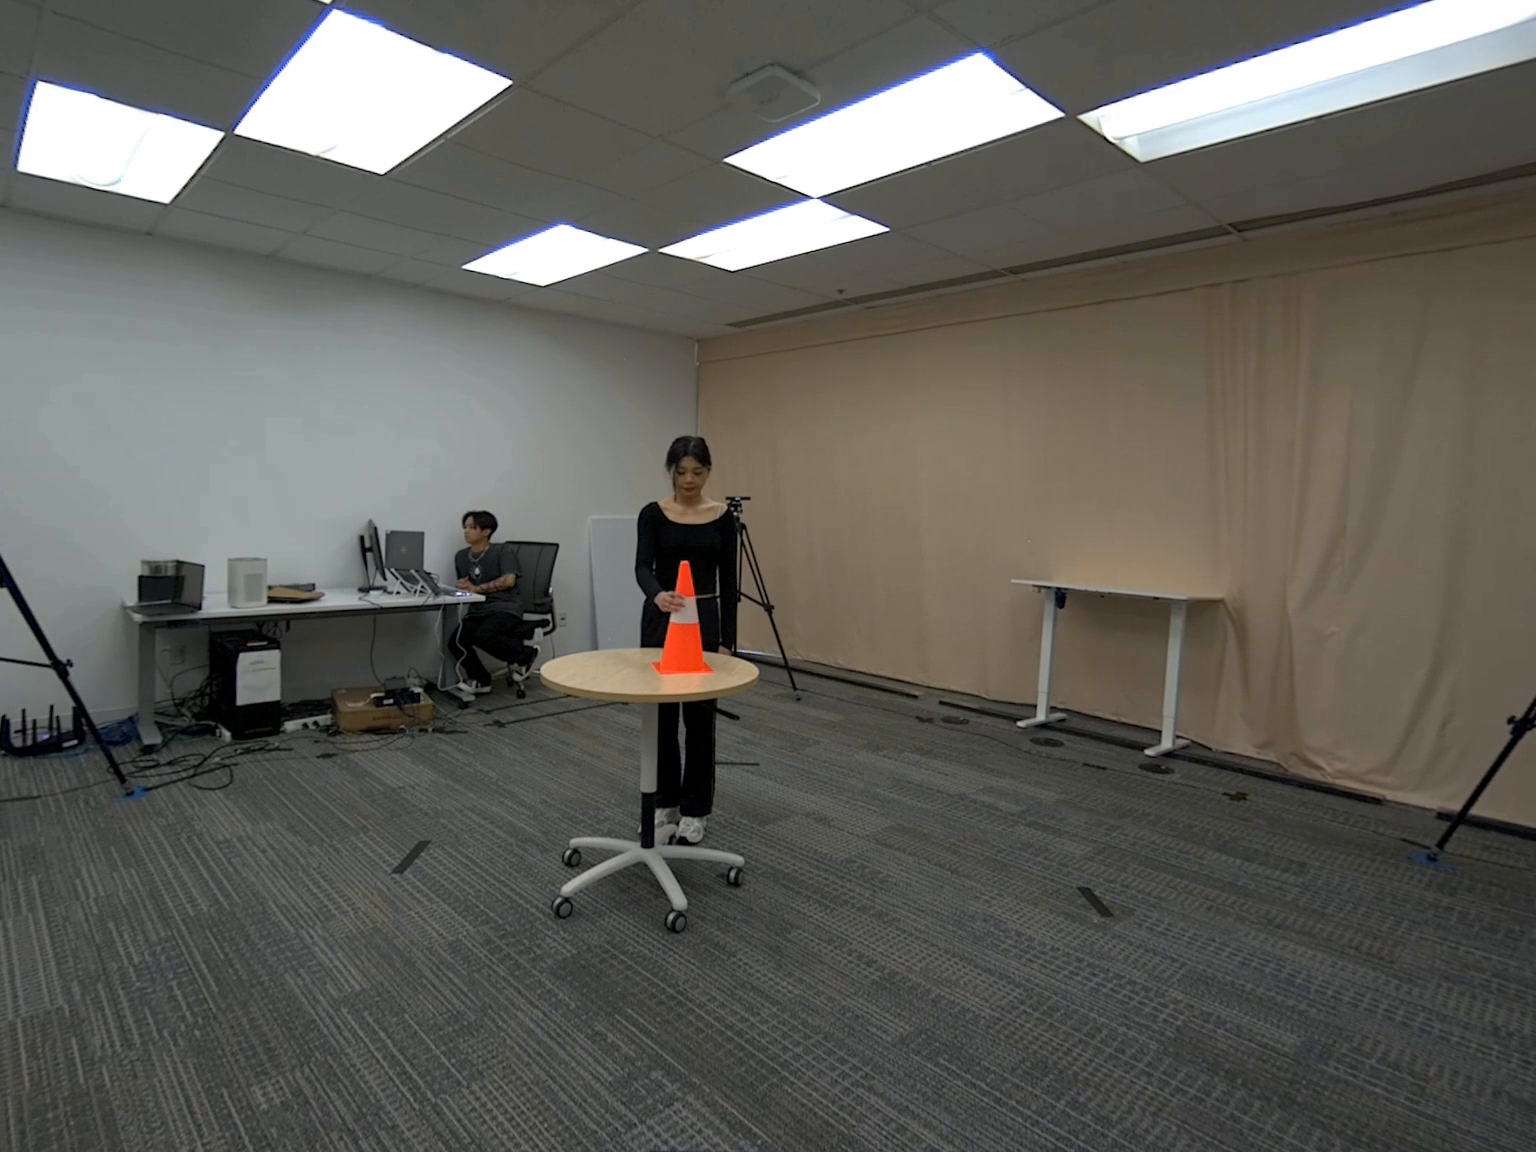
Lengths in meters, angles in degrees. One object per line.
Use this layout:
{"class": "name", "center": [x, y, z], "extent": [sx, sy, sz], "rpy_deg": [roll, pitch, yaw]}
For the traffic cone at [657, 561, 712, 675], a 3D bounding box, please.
{"class": "traffic cone", "center": [-0.316, 0.140, 2.992], "extent": [0.203, 0.383, 0.206], "rpy_deg": [0, 4, -14]}
